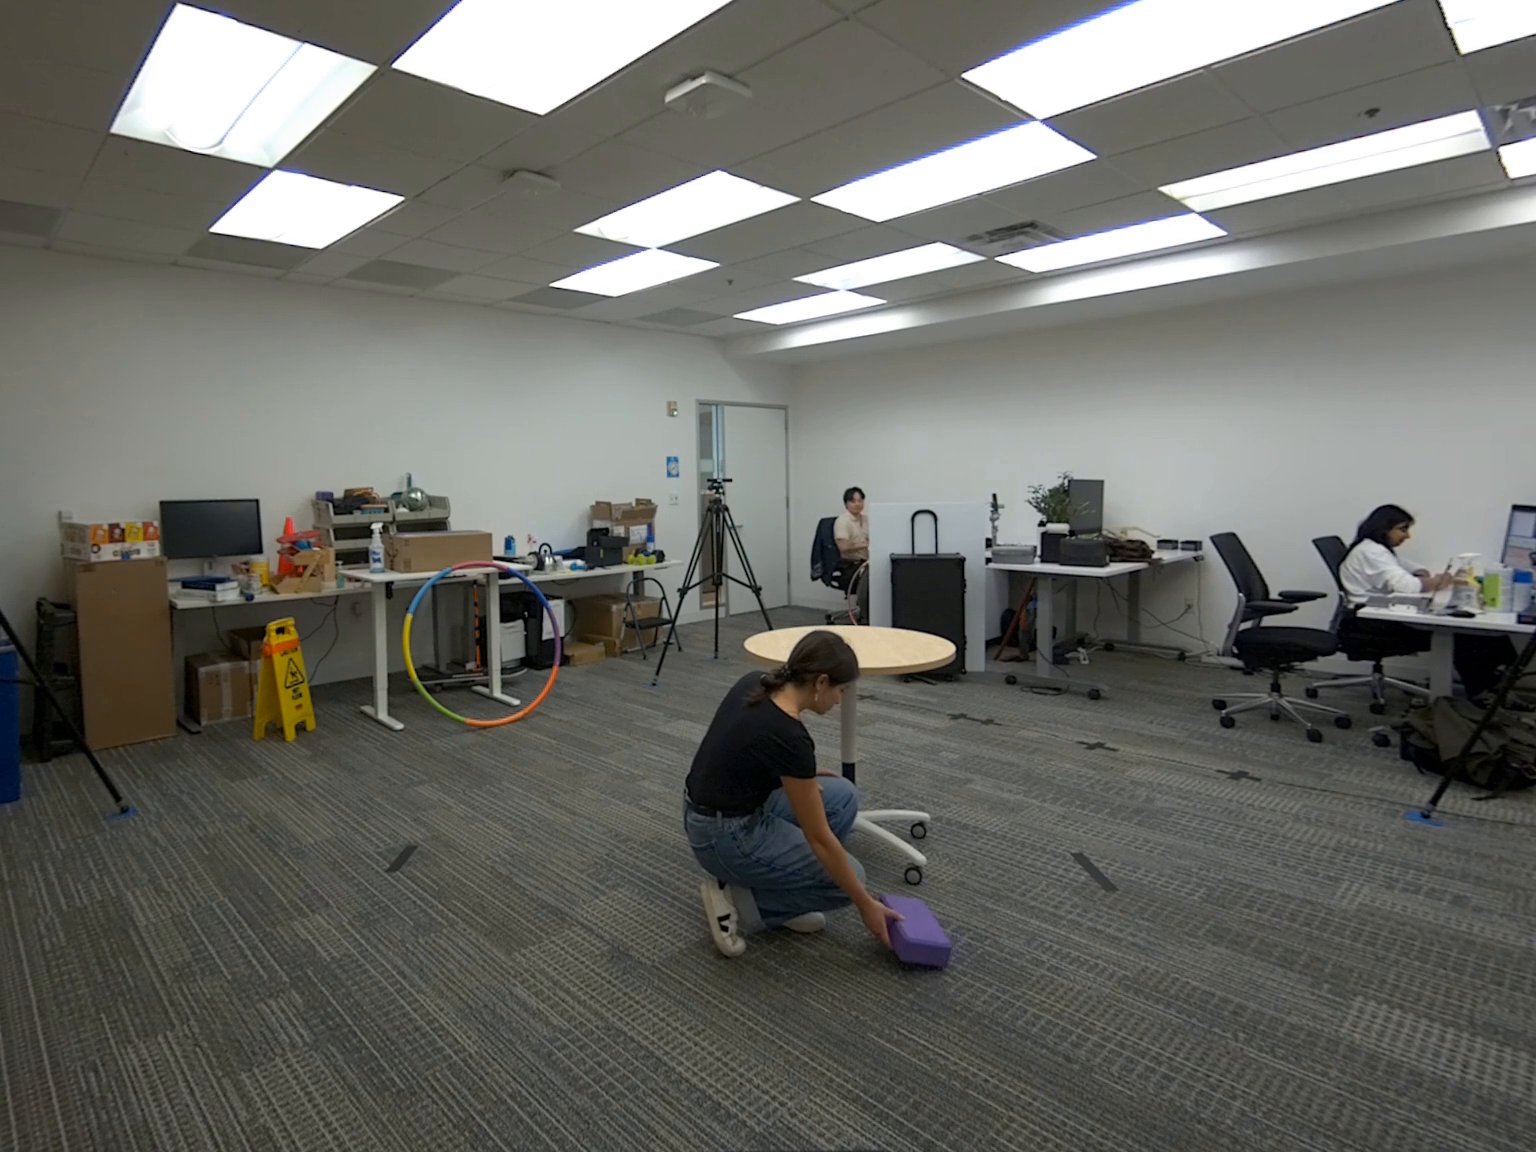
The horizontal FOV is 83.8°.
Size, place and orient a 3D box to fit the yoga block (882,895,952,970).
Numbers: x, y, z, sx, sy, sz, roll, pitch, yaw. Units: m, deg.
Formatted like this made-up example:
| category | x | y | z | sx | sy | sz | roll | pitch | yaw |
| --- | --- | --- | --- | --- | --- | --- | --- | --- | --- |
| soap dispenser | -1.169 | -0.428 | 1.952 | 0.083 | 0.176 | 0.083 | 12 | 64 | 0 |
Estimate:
| category | x | y | z | sx | sy | sz | roll | pitch | yaw |
| --- | --- | --- | --- | --- | --- | --- | --- | --- | --- |
| yoga block | 0.423 | 1.031 | 2.490 | 0.147 | 0.076 | 0.234 | 7 | 9 | -13 |
